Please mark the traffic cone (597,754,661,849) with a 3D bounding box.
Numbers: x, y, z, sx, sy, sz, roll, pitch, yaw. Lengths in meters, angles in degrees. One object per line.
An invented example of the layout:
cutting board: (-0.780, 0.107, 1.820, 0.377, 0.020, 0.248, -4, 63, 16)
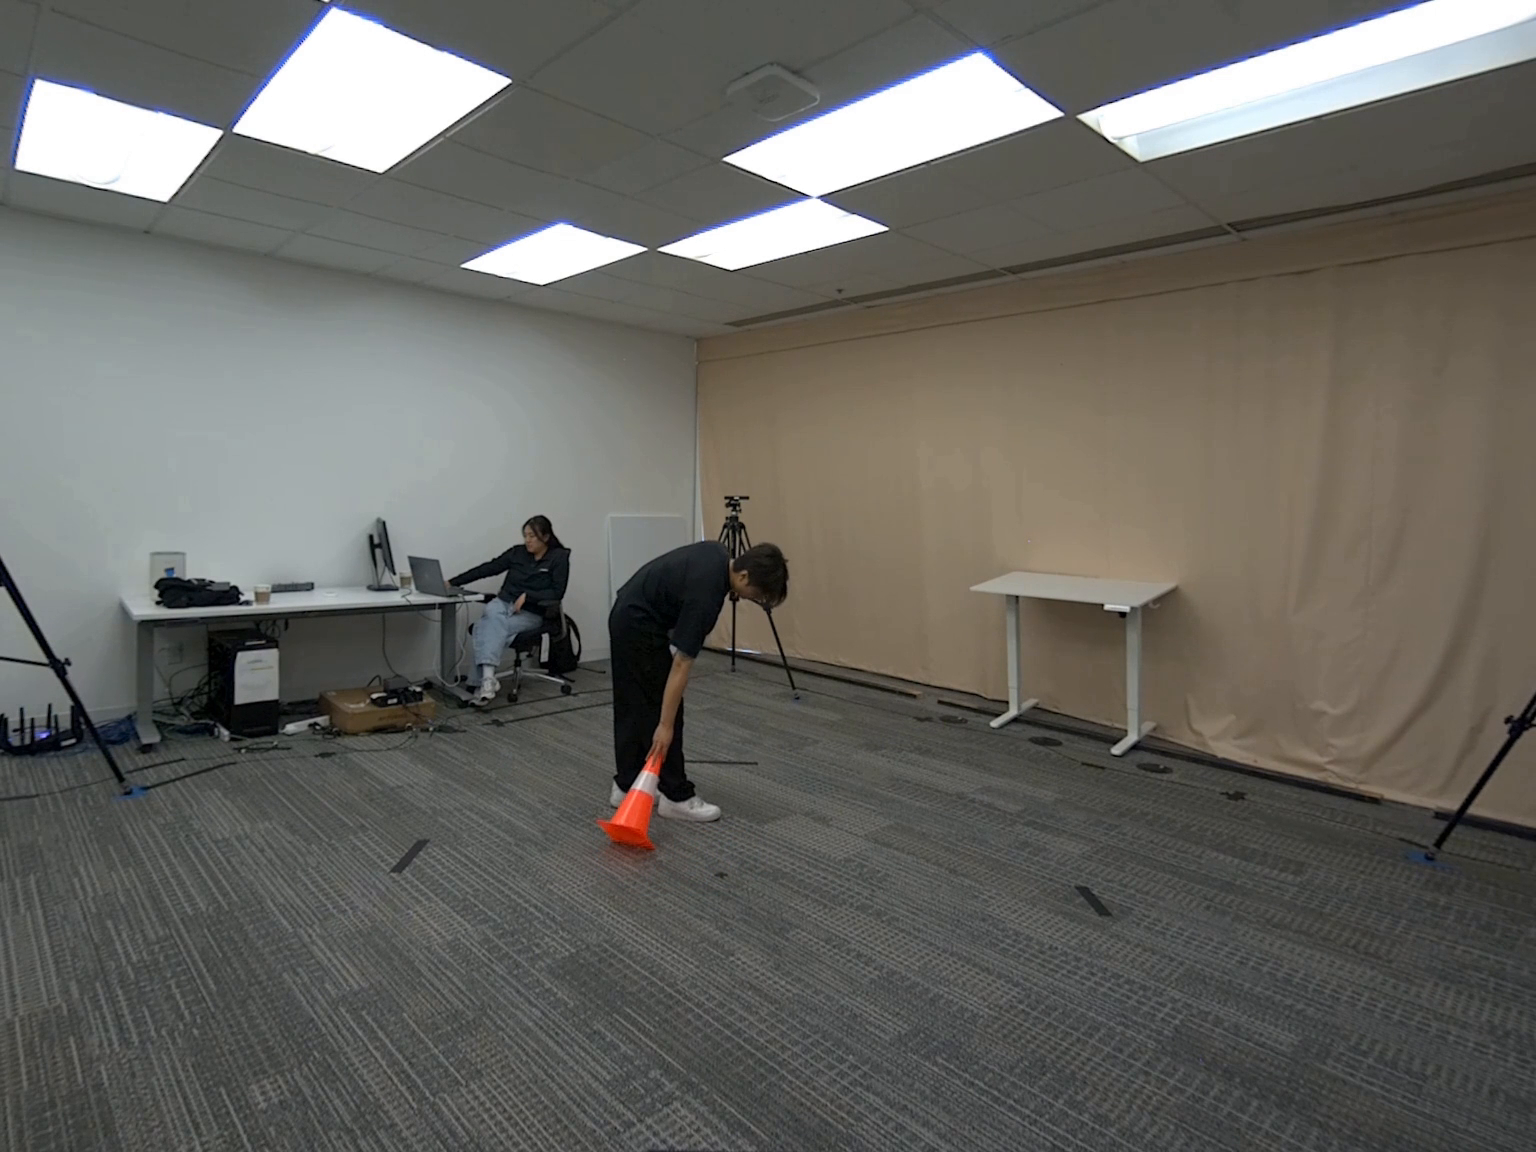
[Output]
traffic cone: (-0.523, 0.868, 3.403, 0.207, 0.389, 0.198, -6, -42, 28)
